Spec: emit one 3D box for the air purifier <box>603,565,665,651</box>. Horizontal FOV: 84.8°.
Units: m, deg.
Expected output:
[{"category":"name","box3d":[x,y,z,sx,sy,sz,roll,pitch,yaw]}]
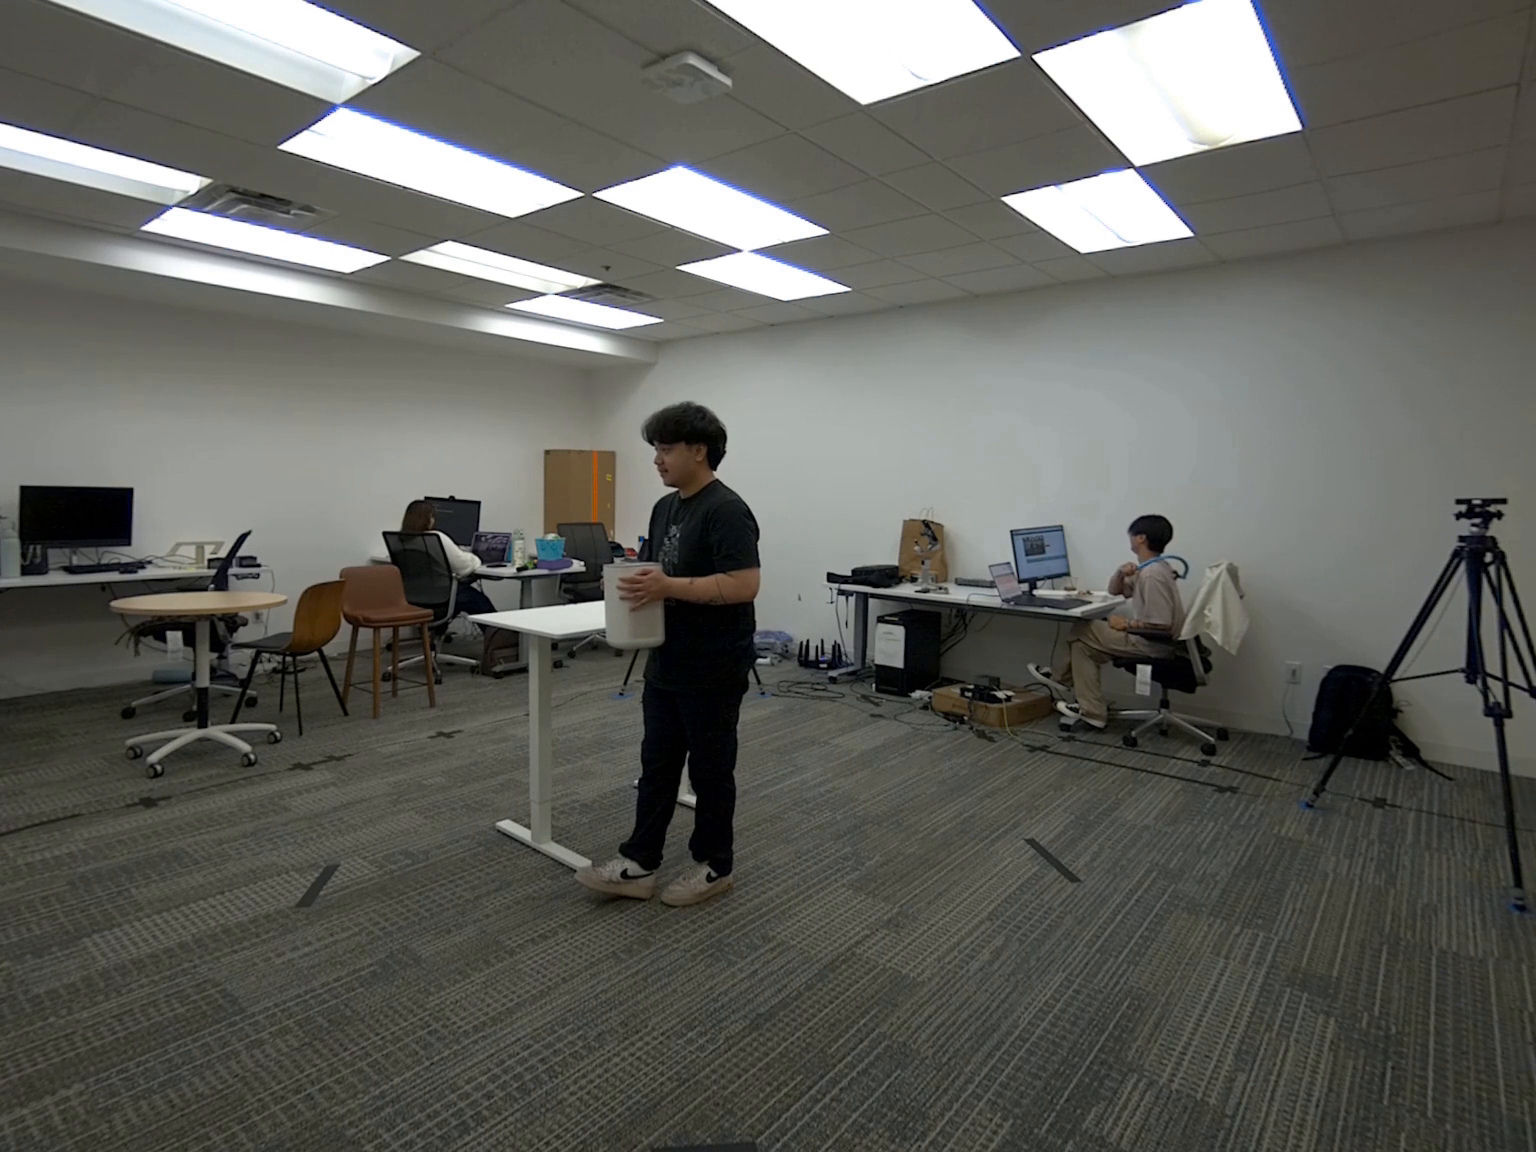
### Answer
[{"category":"air purifier","box3d":[-0.442,0.090,2.748,0.167,0.265,0.175,-3,1,-28]}]
